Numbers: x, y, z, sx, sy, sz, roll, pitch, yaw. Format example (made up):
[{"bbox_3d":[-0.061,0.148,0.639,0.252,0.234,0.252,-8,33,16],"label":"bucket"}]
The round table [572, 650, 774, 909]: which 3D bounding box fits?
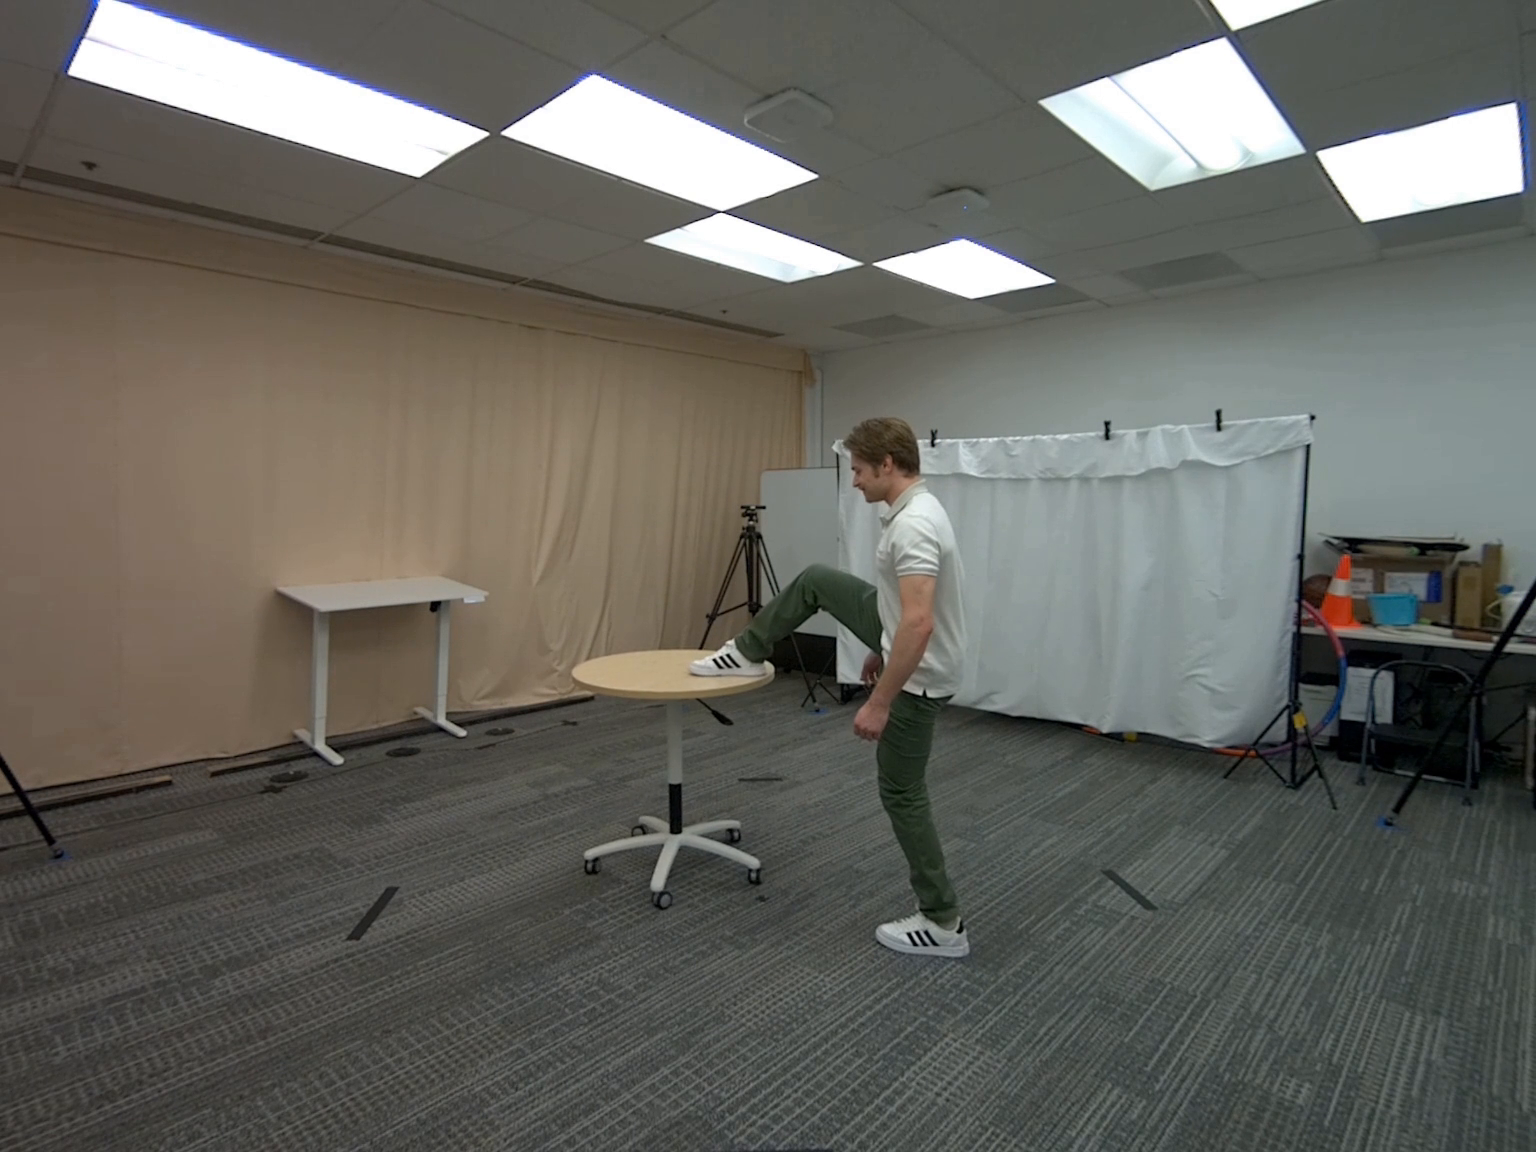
[{"bbox_3d":[-0.358,0.742,3.229,0.763,0.792,0.767,-1,4,-2],"label":"round table"}]
